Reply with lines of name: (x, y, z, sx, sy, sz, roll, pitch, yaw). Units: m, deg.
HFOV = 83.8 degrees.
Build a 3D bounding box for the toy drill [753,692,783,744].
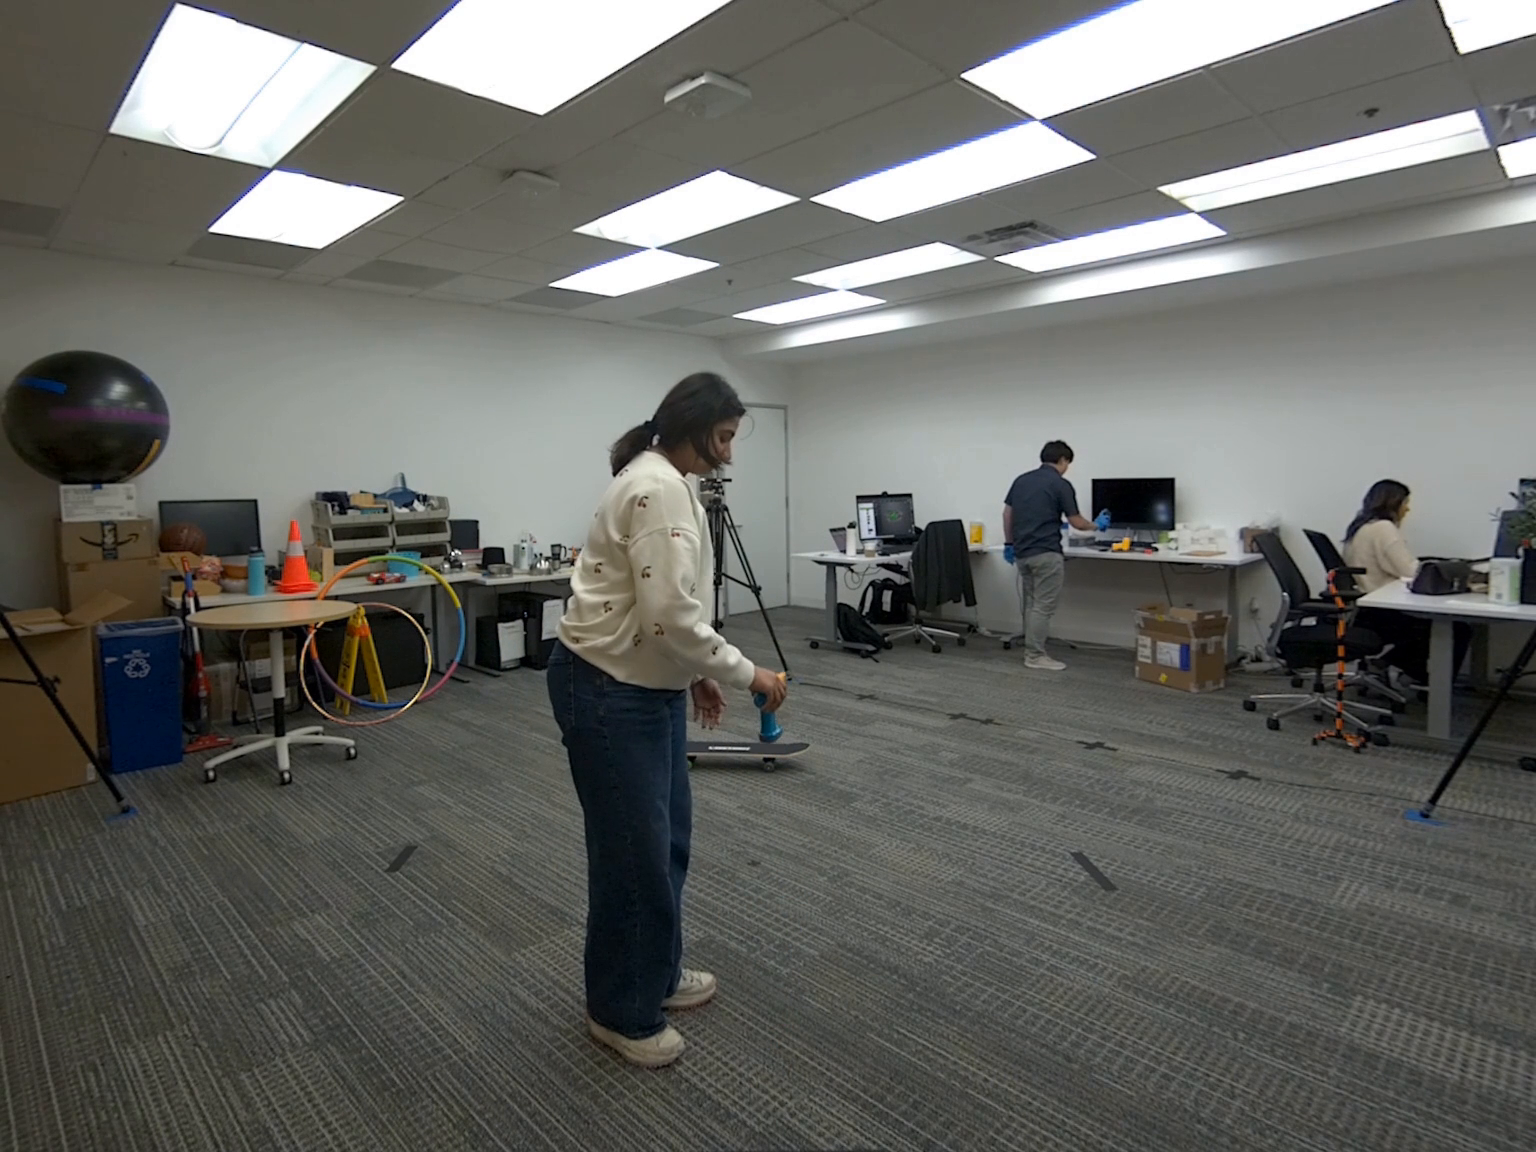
toy drill: (0.018, 0.318, 2.131, 0.062, 0.143, 0.169, 0, 19, 23)
